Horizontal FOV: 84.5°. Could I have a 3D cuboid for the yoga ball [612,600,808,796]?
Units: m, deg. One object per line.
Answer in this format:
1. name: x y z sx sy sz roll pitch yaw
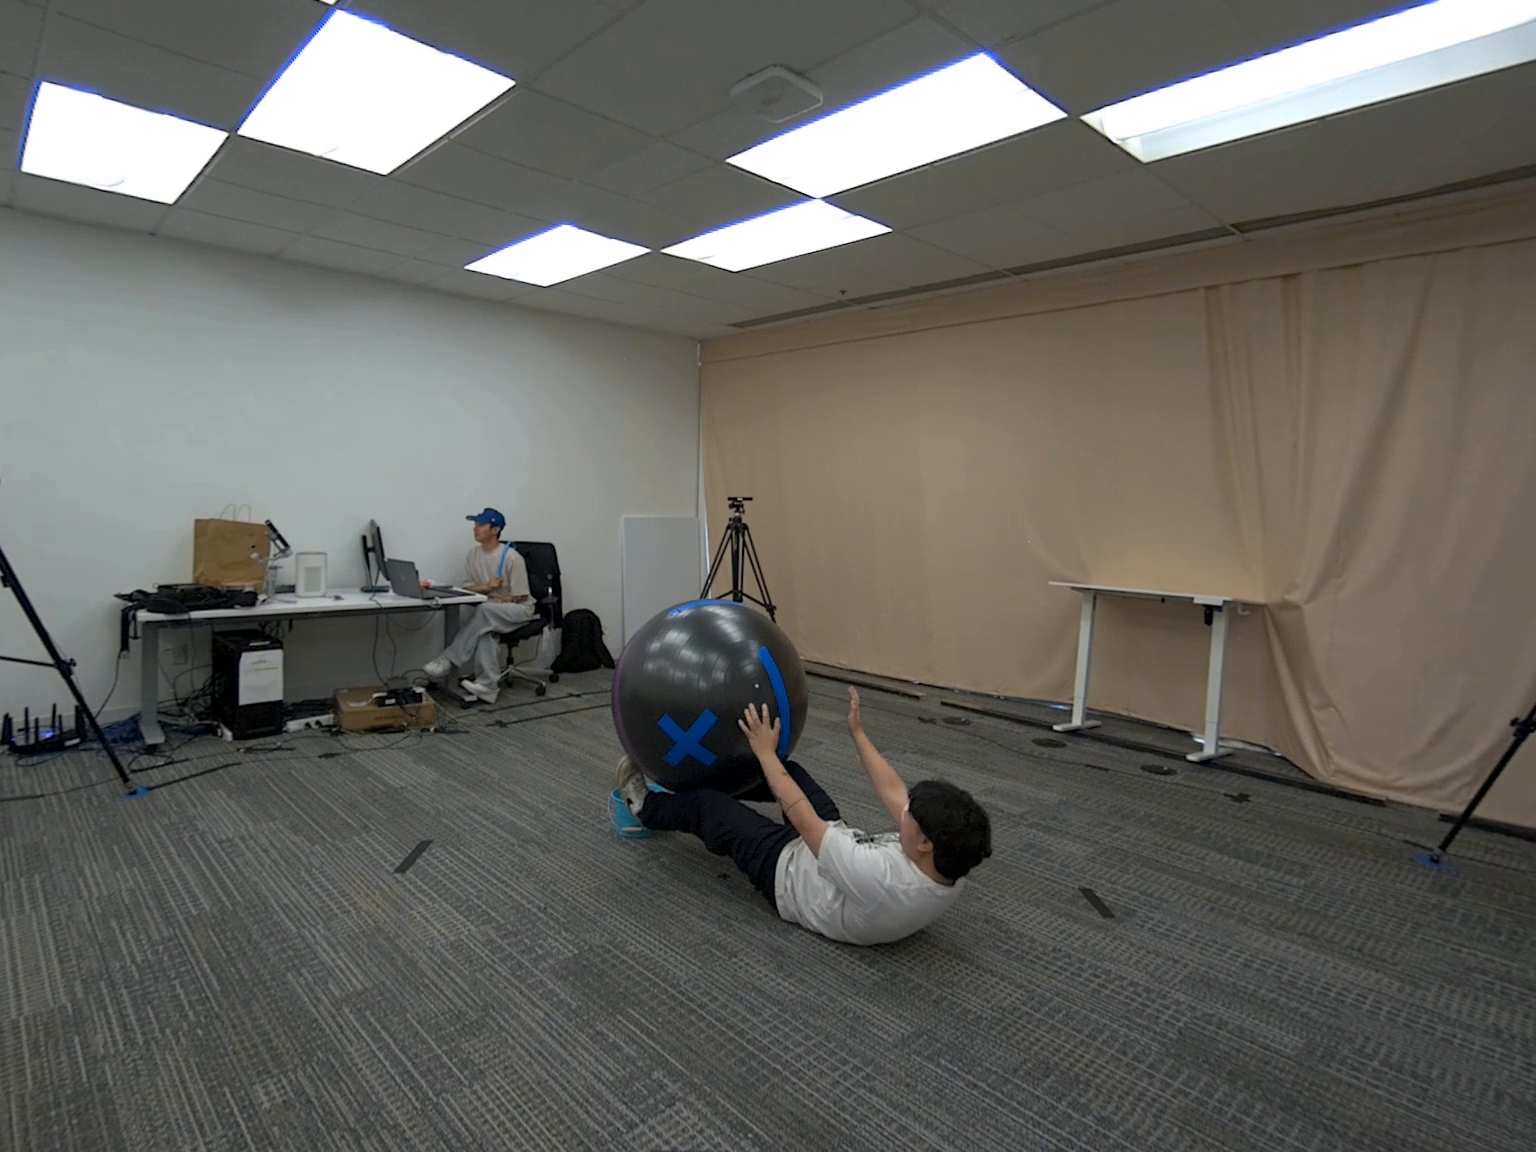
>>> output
1. yoga ball: -0.230 0.466 3.258 0.757 0.756 0.760 1 4 -1
